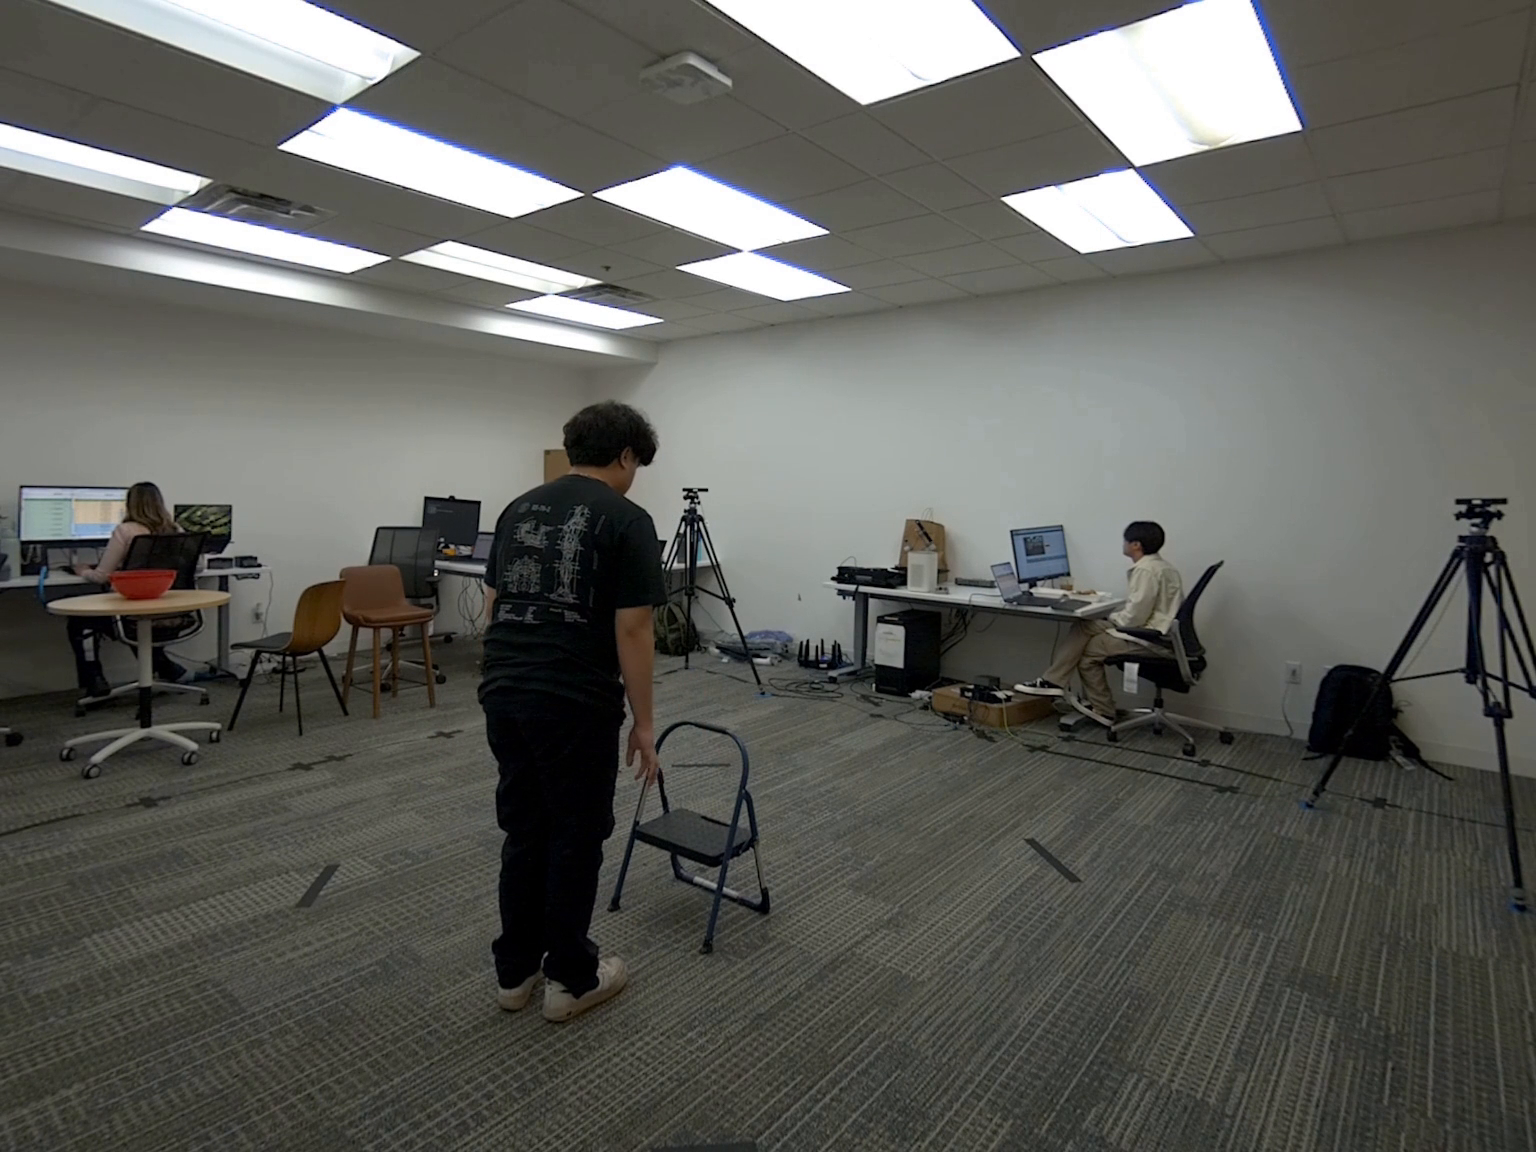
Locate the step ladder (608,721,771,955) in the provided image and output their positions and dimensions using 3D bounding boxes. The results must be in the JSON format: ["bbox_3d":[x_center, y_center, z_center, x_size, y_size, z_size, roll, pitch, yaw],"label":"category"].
[{"bbox_3d":[-0.256,0.797,2.782,0.445,0.604,0.339,4,5,37],"label":"step ladder"}]
